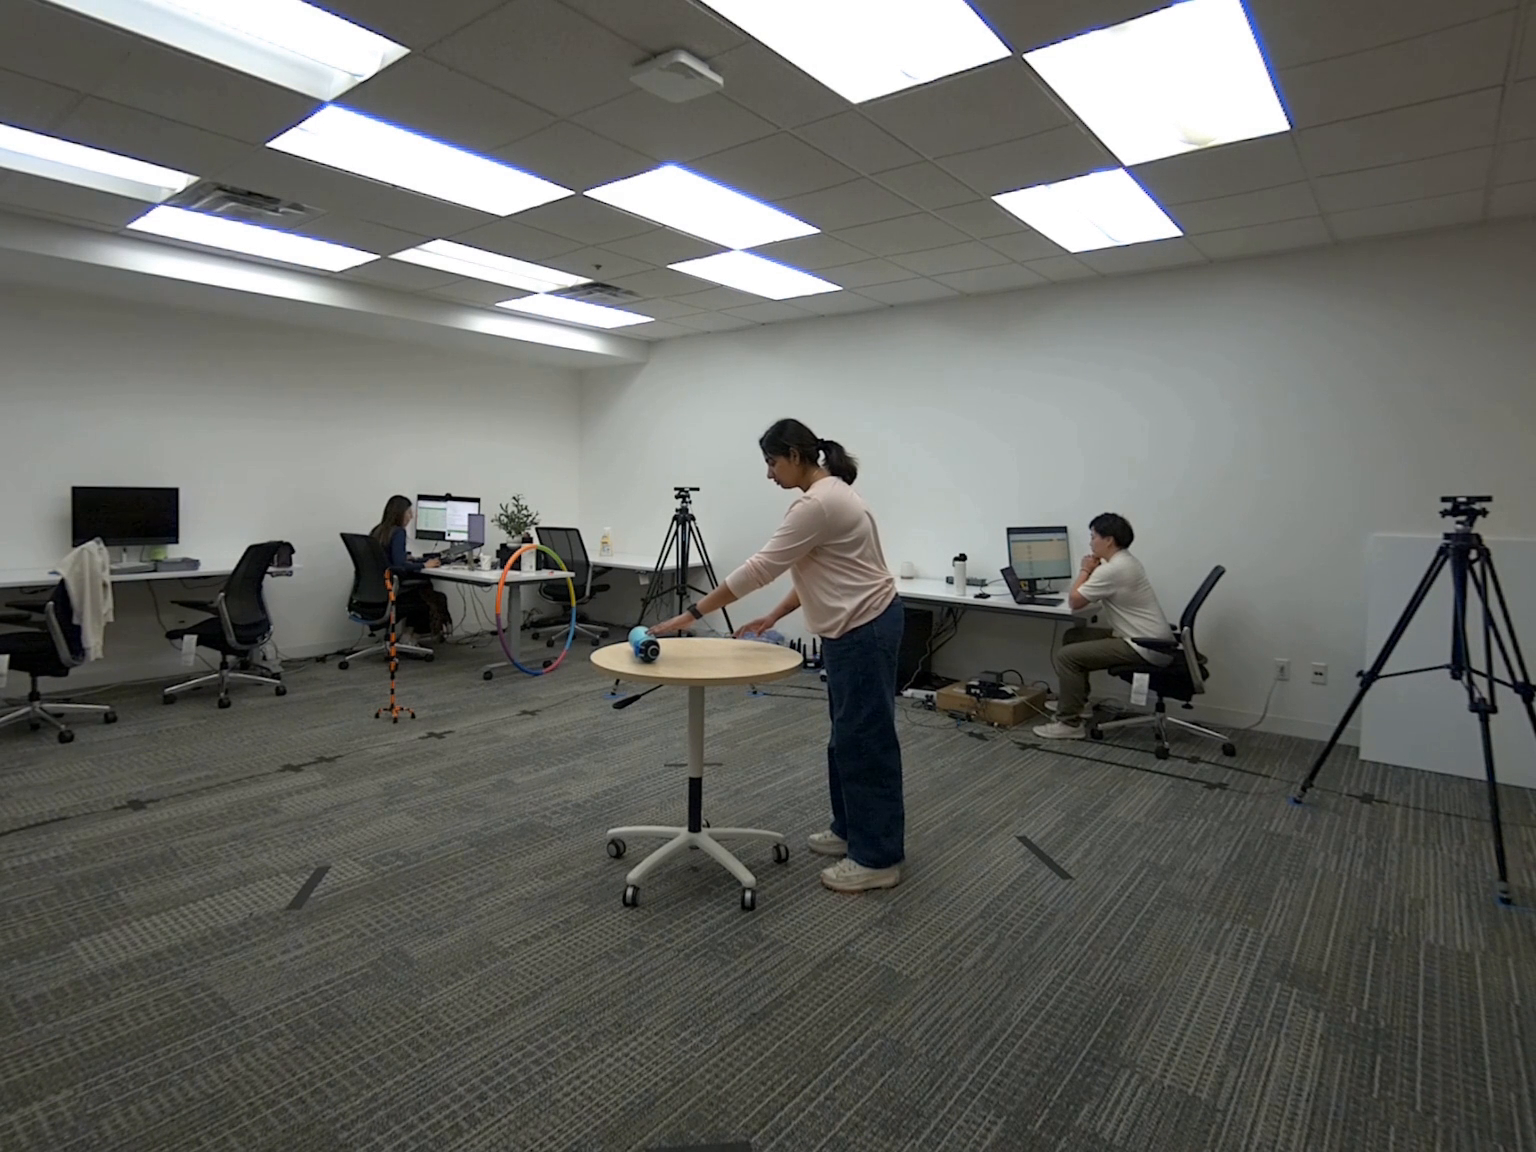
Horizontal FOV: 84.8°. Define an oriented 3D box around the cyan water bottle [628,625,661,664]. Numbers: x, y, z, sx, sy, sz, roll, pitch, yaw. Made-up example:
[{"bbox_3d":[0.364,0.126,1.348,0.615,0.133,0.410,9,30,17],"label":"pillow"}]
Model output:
[{"bbox_3d":[-0.453,0.243,3.037,0.091,0.092,0.288,0,6,-12],"label":"cyan water bottle"}]
